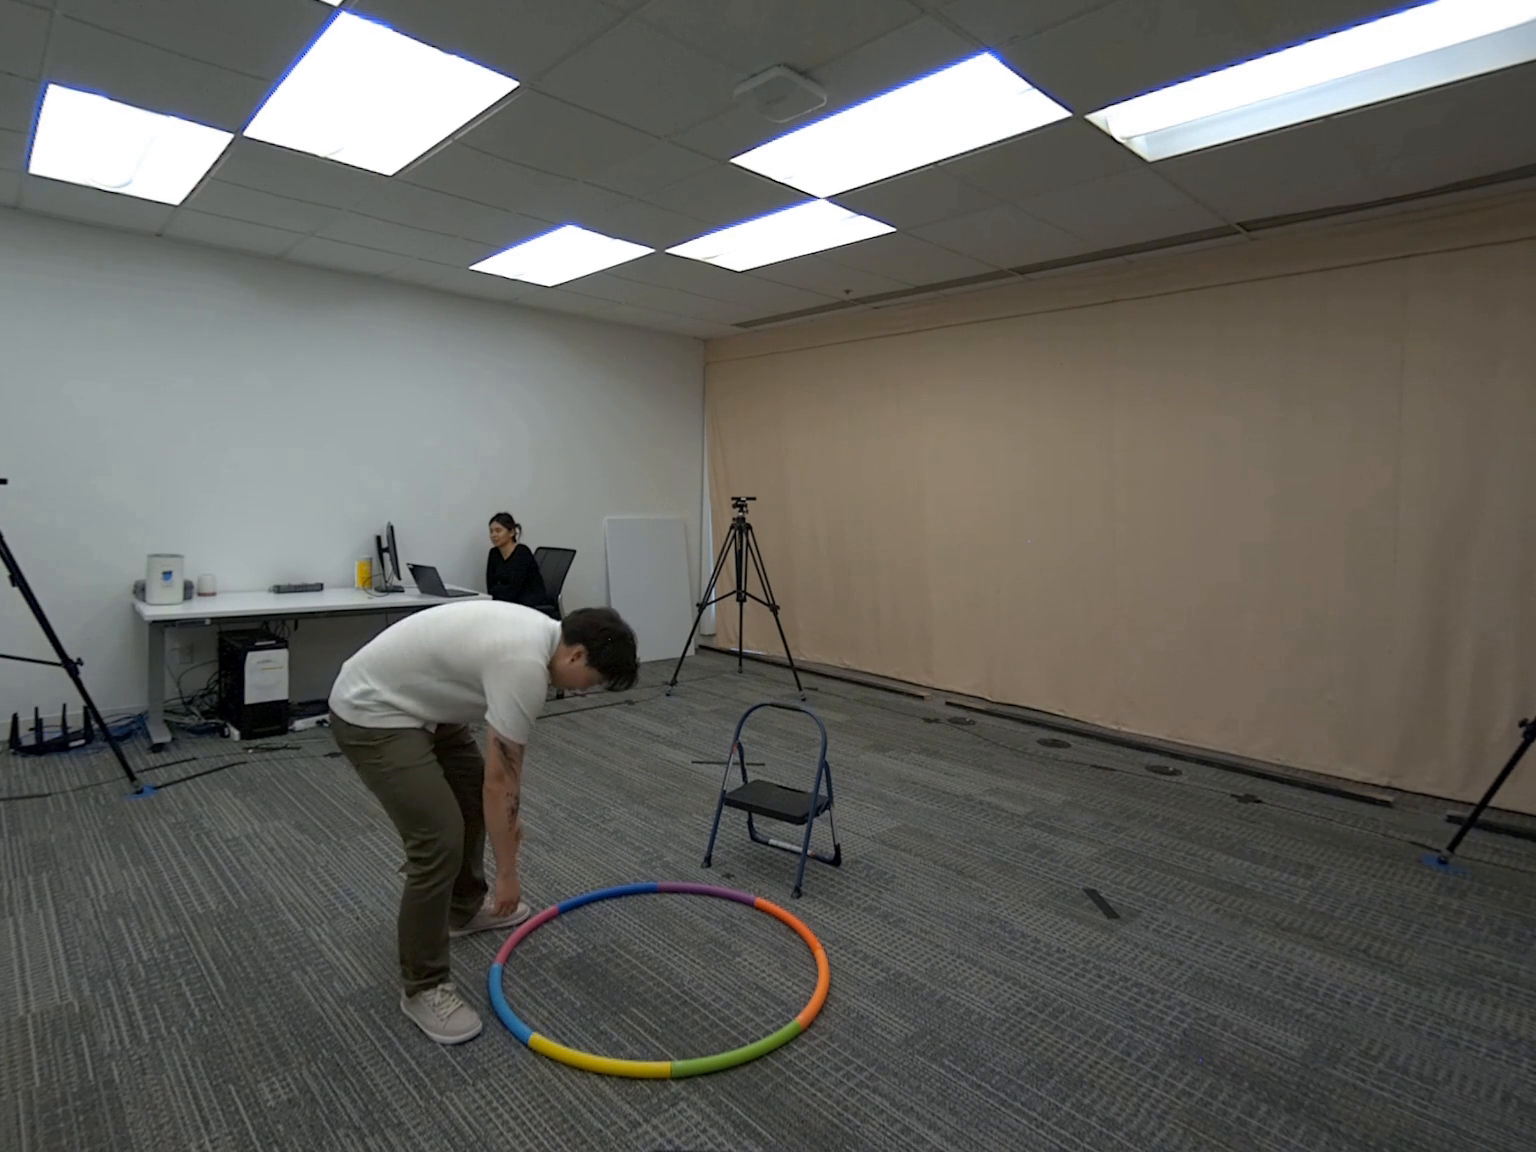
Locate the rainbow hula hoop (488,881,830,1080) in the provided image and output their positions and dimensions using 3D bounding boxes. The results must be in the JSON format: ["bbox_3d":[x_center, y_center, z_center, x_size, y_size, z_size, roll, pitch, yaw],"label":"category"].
[{"bbox_3d":[-0.316,1.132,2.492,0.978,0.035,0.982,1,5,-1],"label":"rainbow hula hoop"}]
